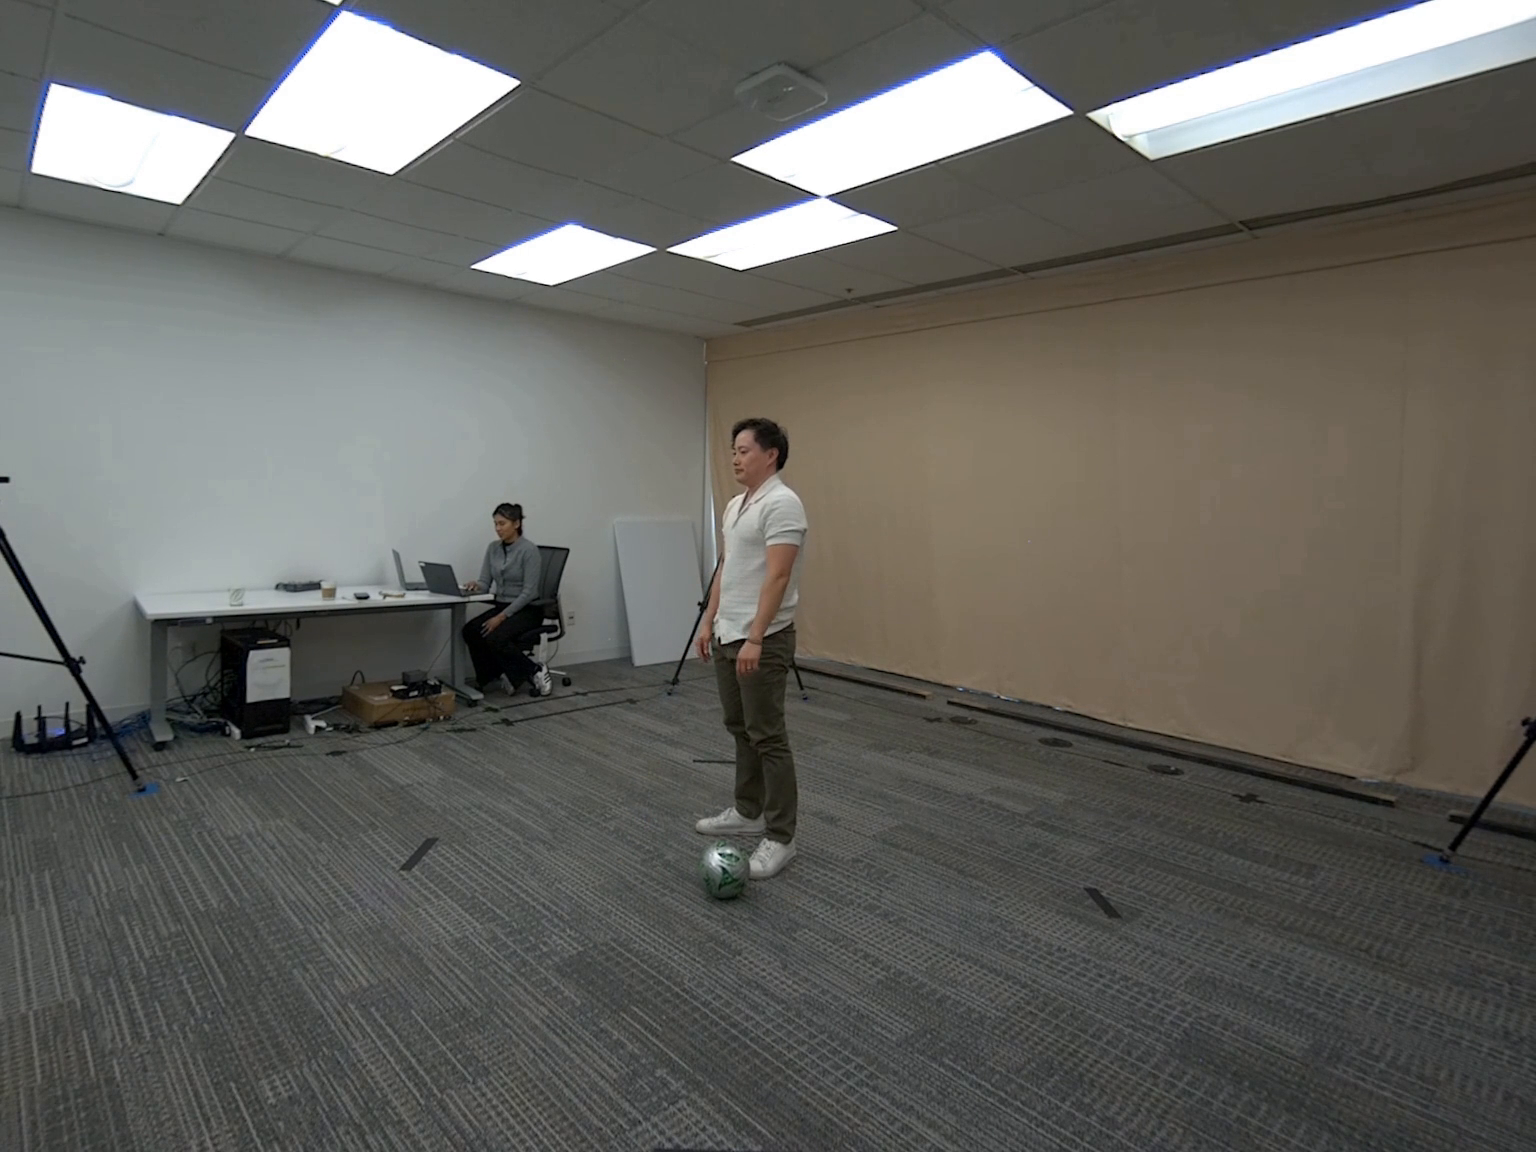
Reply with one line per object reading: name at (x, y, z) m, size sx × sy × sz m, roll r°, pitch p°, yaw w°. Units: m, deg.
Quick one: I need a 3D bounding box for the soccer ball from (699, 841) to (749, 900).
soccer ball at (-0.164, 1.031, 2.936) m, size 0.187 × 0.187 × 0.188 m, roll 1°, pitch 4°, yaw -1°
